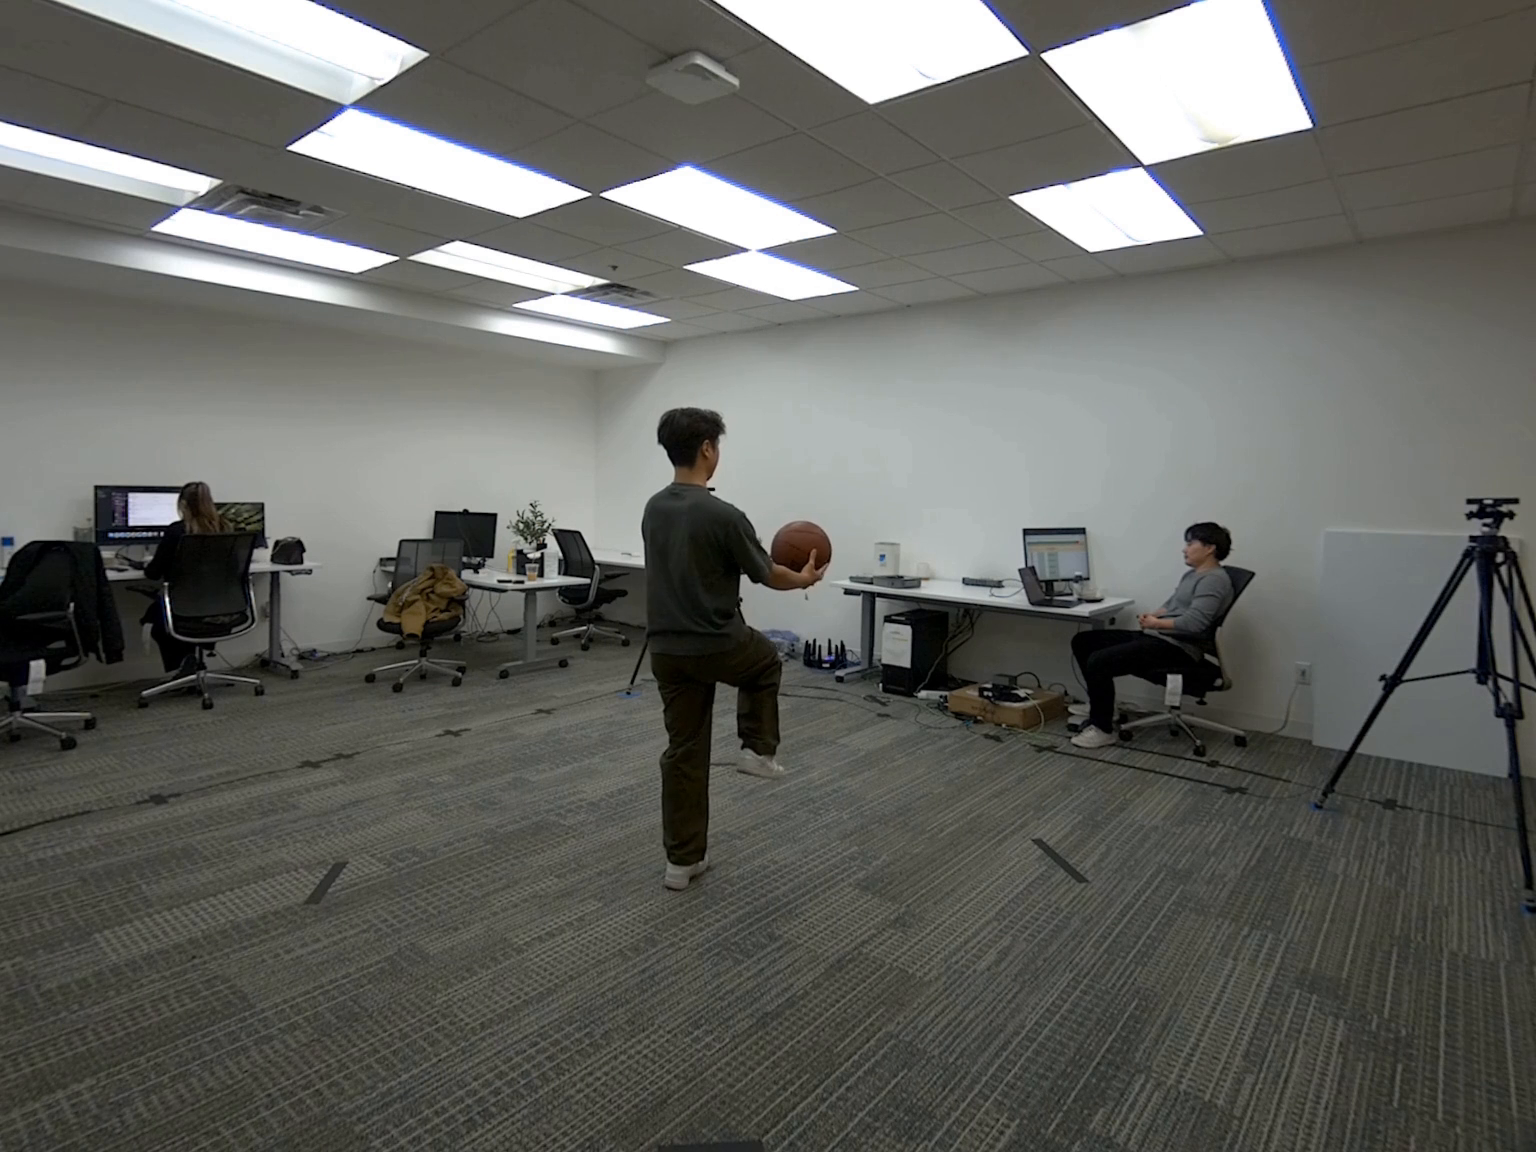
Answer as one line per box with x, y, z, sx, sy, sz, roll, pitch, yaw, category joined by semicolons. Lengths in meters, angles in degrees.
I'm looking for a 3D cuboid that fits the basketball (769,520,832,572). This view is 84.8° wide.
0.114;-0.102;3.323;0.235;0.235;0.237;1;4;-2;basketball
